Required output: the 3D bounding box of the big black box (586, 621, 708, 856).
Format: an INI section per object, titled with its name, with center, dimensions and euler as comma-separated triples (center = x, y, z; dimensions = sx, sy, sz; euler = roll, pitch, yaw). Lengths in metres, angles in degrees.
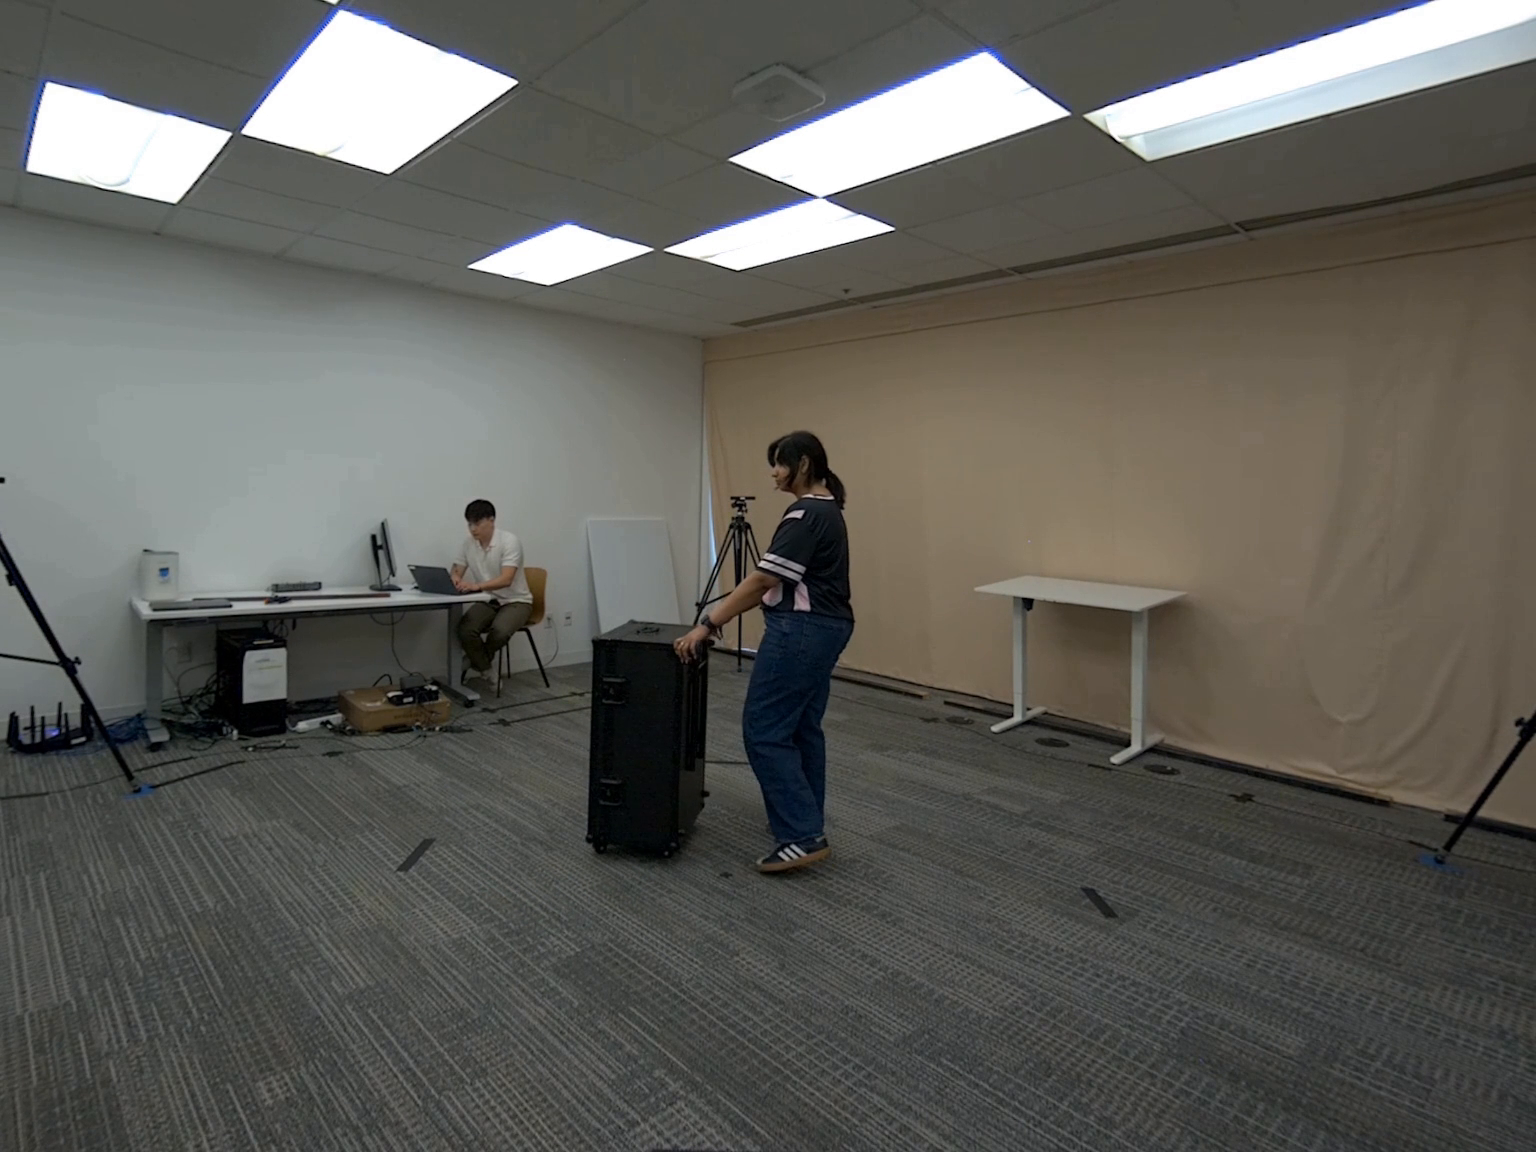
[big black box]
center = -0.468, 0.648, 3.383
dimensions = 0.388, 0.866, 0.521
euler = 3, 4, 8
